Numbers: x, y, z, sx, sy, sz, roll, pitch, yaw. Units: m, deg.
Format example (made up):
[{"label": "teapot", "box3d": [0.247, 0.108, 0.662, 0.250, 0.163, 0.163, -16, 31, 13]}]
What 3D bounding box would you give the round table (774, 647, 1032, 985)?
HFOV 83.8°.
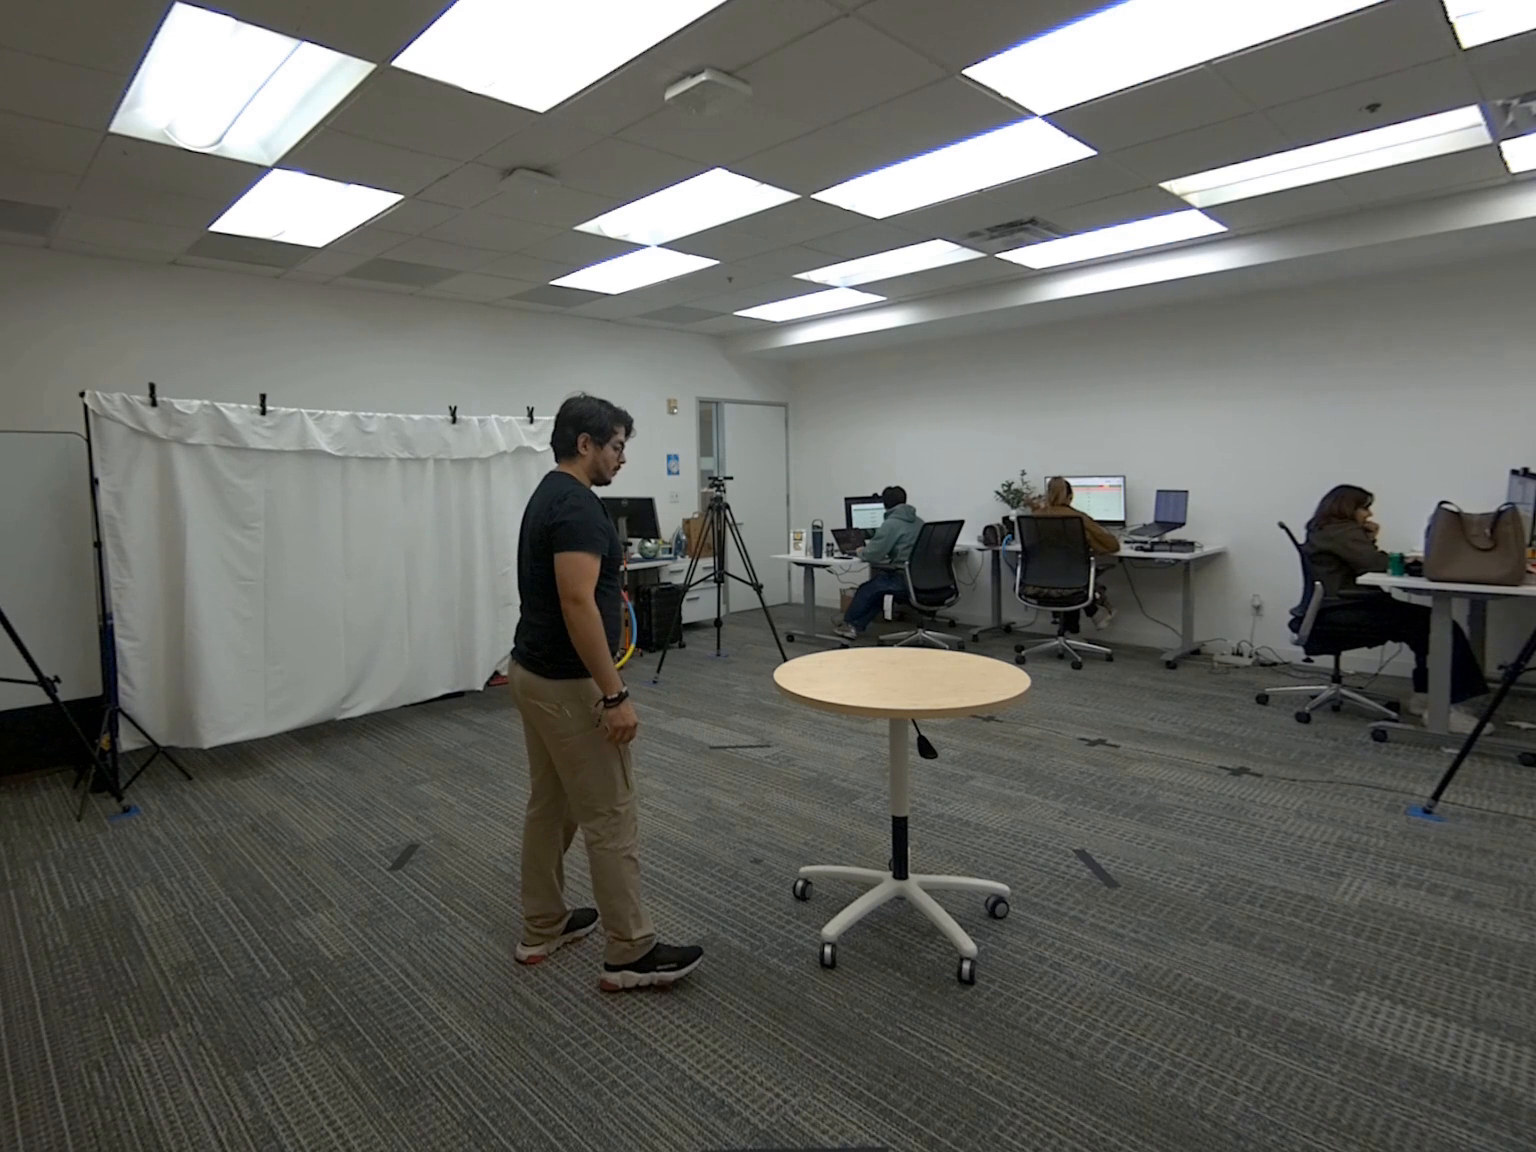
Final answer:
[{"label": "round table", "box3d": [0.414, 0.687, 2.658, 0.784, 0.783, 0.790, -1, 6, -2]}]
